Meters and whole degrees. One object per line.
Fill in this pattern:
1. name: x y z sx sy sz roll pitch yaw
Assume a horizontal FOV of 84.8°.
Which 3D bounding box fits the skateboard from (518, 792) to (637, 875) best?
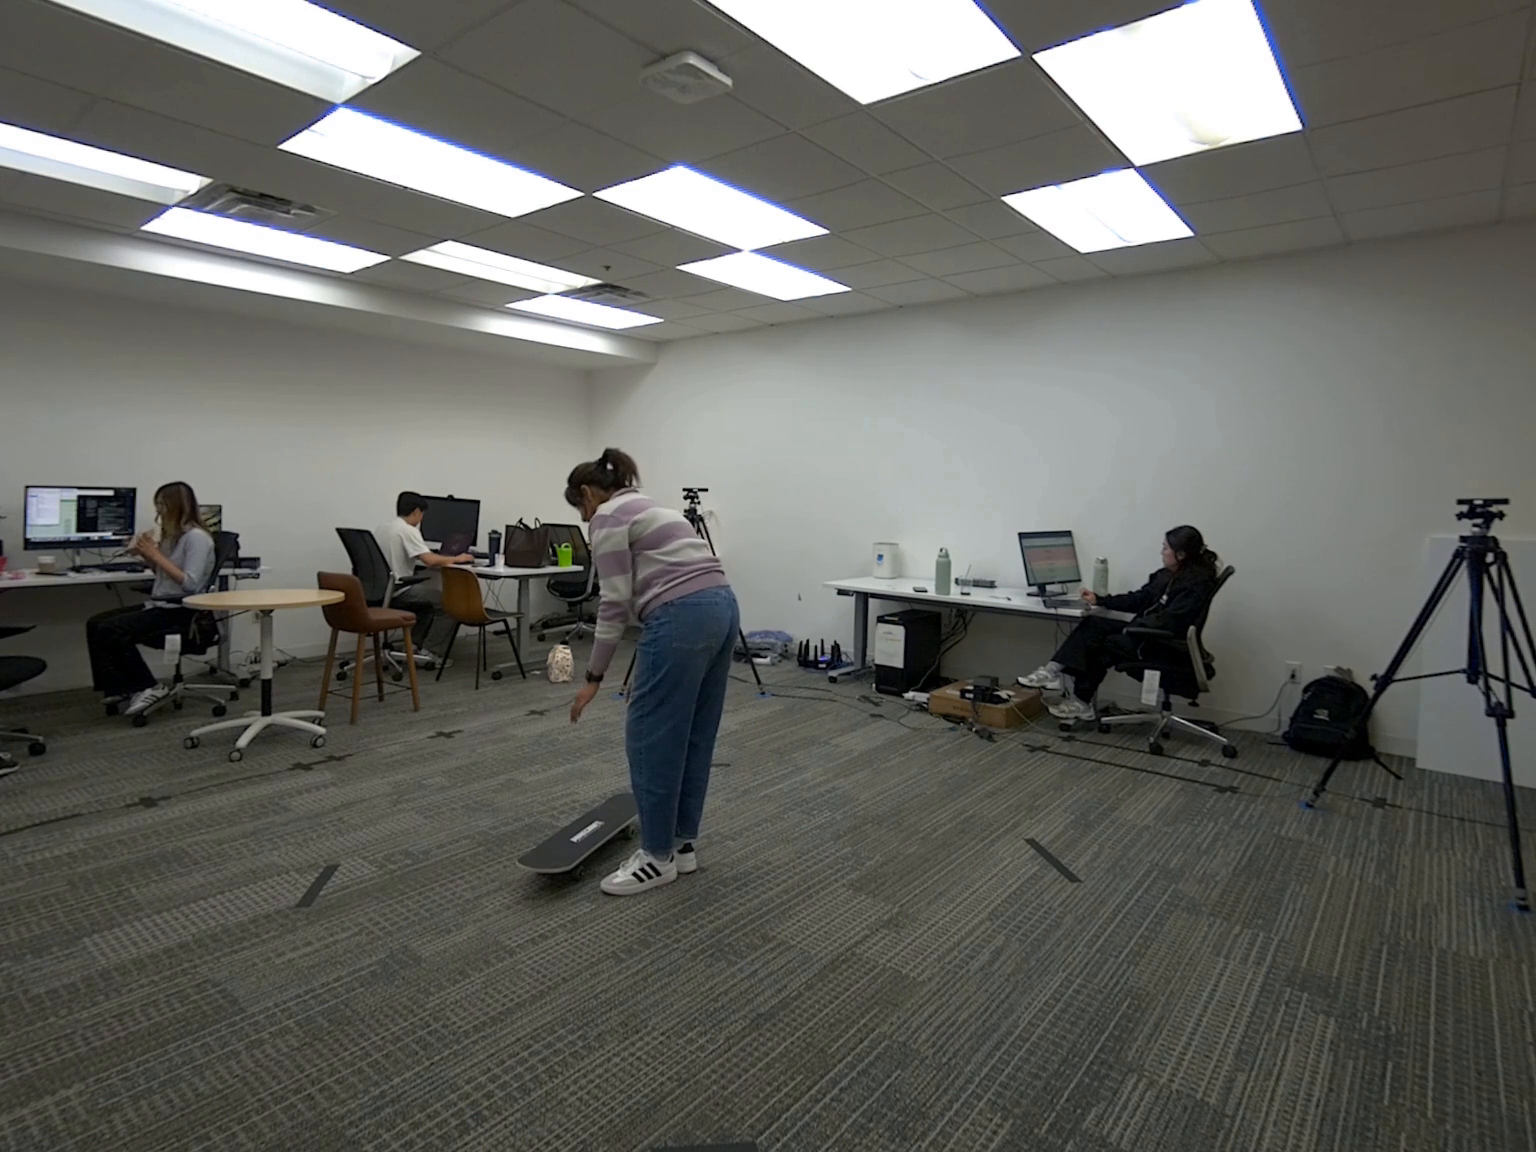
1. skateboard: -0.696 0.994 3.217 0.197 0.110 0.772 4 6 18
